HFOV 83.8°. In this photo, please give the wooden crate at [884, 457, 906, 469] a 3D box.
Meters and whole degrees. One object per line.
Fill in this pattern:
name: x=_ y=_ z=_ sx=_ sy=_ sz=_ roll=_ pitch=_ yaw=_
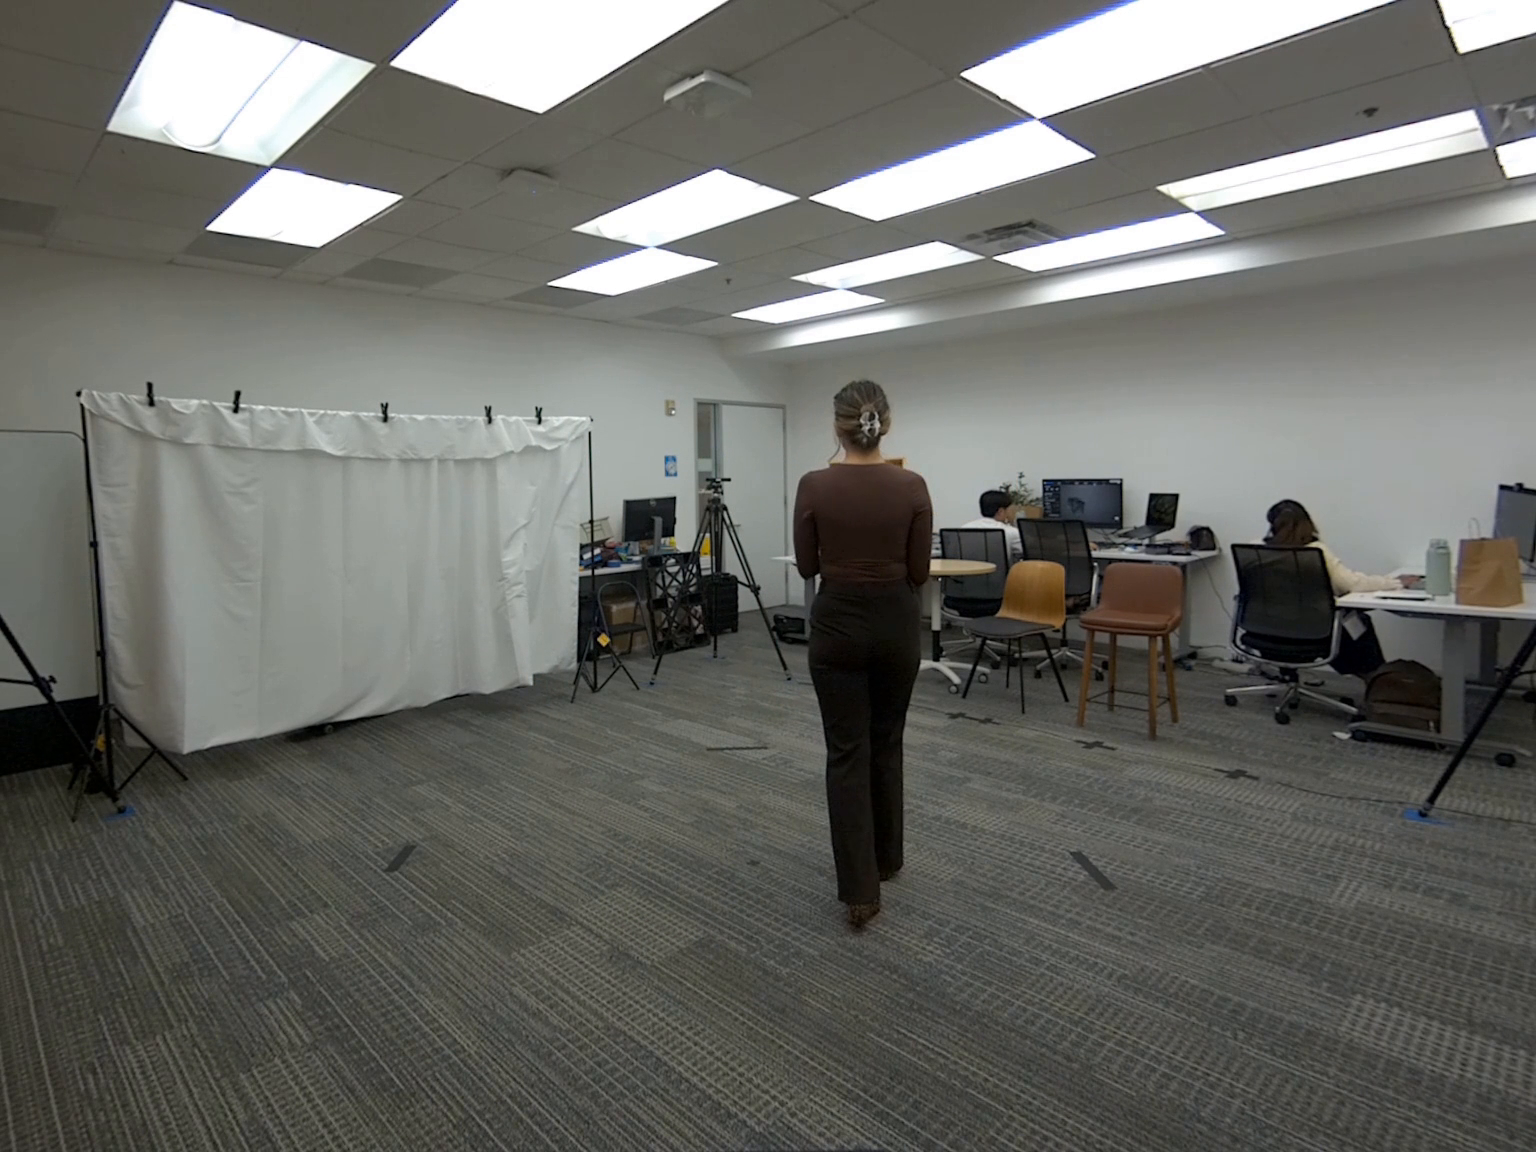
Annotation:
wooden crate: x=0.389 y=-0.311 z=3.249 sx=0.328 sy=0.303 sz=0.270 roll=-2 pitch=-1 yaw=11
